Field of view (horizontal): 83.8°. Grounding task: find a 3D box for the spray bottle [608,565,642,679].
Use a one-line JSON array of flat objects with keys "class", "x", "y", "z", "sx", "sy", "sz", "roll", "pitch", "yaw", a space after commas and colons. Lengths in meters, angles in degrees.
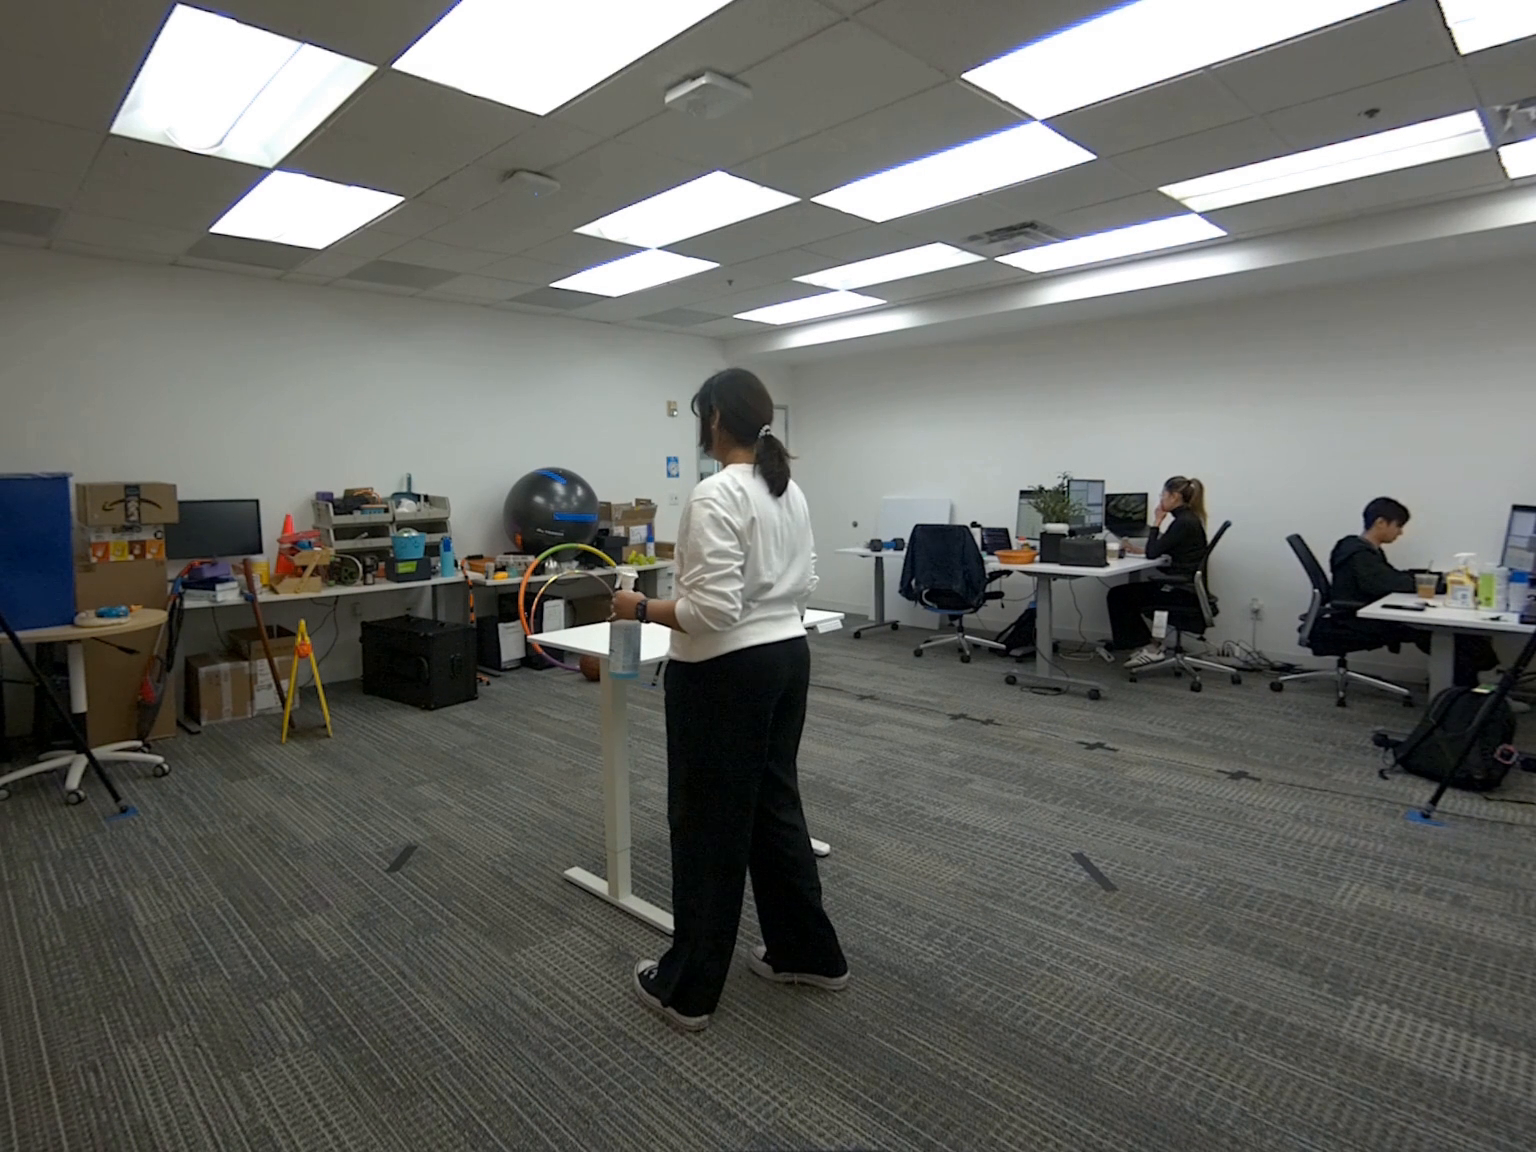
[{"class": "spray bottle", "x": -0.370, "y": 0.121, "z": 2.291, "sx": 0.087, "sy": 0.297, "sz": 0.089, "roll": 1, "pitch": 3, "yaw": -36}]
